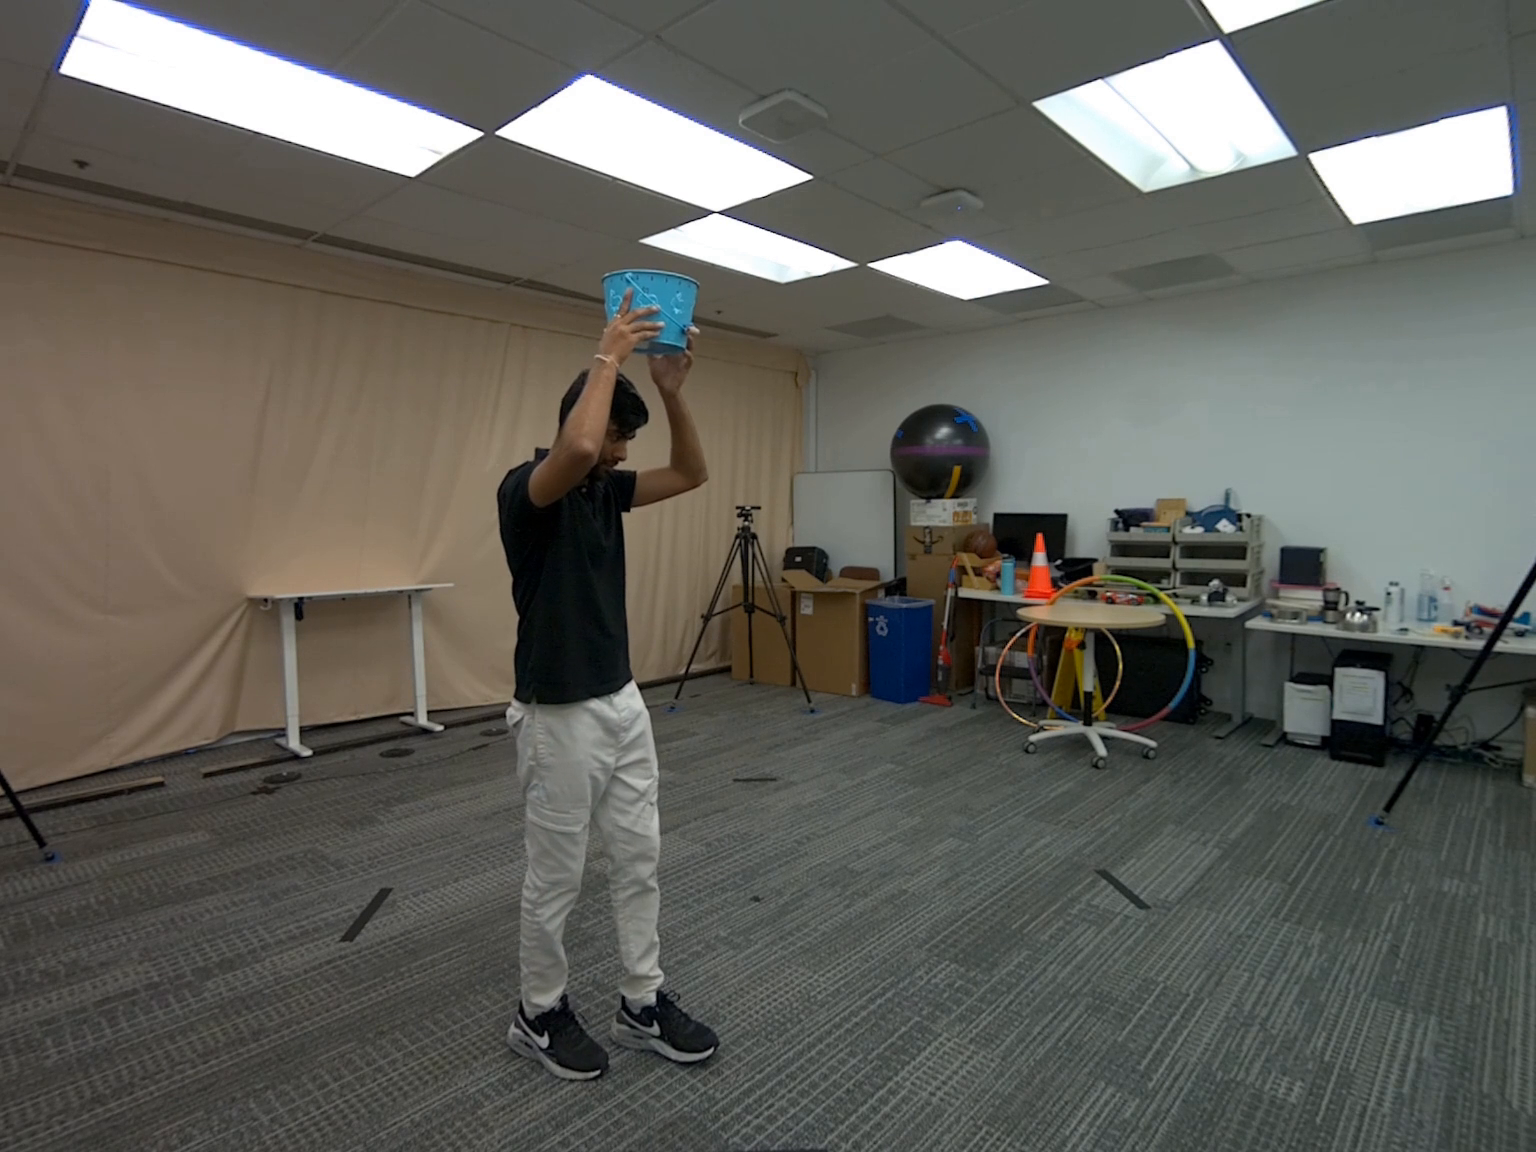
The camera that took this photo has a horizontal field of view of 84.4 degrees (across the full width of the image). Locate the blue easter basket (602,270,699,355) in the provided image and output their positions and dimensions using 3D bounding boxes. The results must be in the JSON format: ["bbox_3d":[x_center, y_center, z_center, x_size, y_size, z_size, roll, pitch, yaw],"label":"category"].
[{"bbox_3d":[-0.291,-0.624,1.983,0.243,0.155,0.245,2,5,-2],"label":"blue easter basket"}]
